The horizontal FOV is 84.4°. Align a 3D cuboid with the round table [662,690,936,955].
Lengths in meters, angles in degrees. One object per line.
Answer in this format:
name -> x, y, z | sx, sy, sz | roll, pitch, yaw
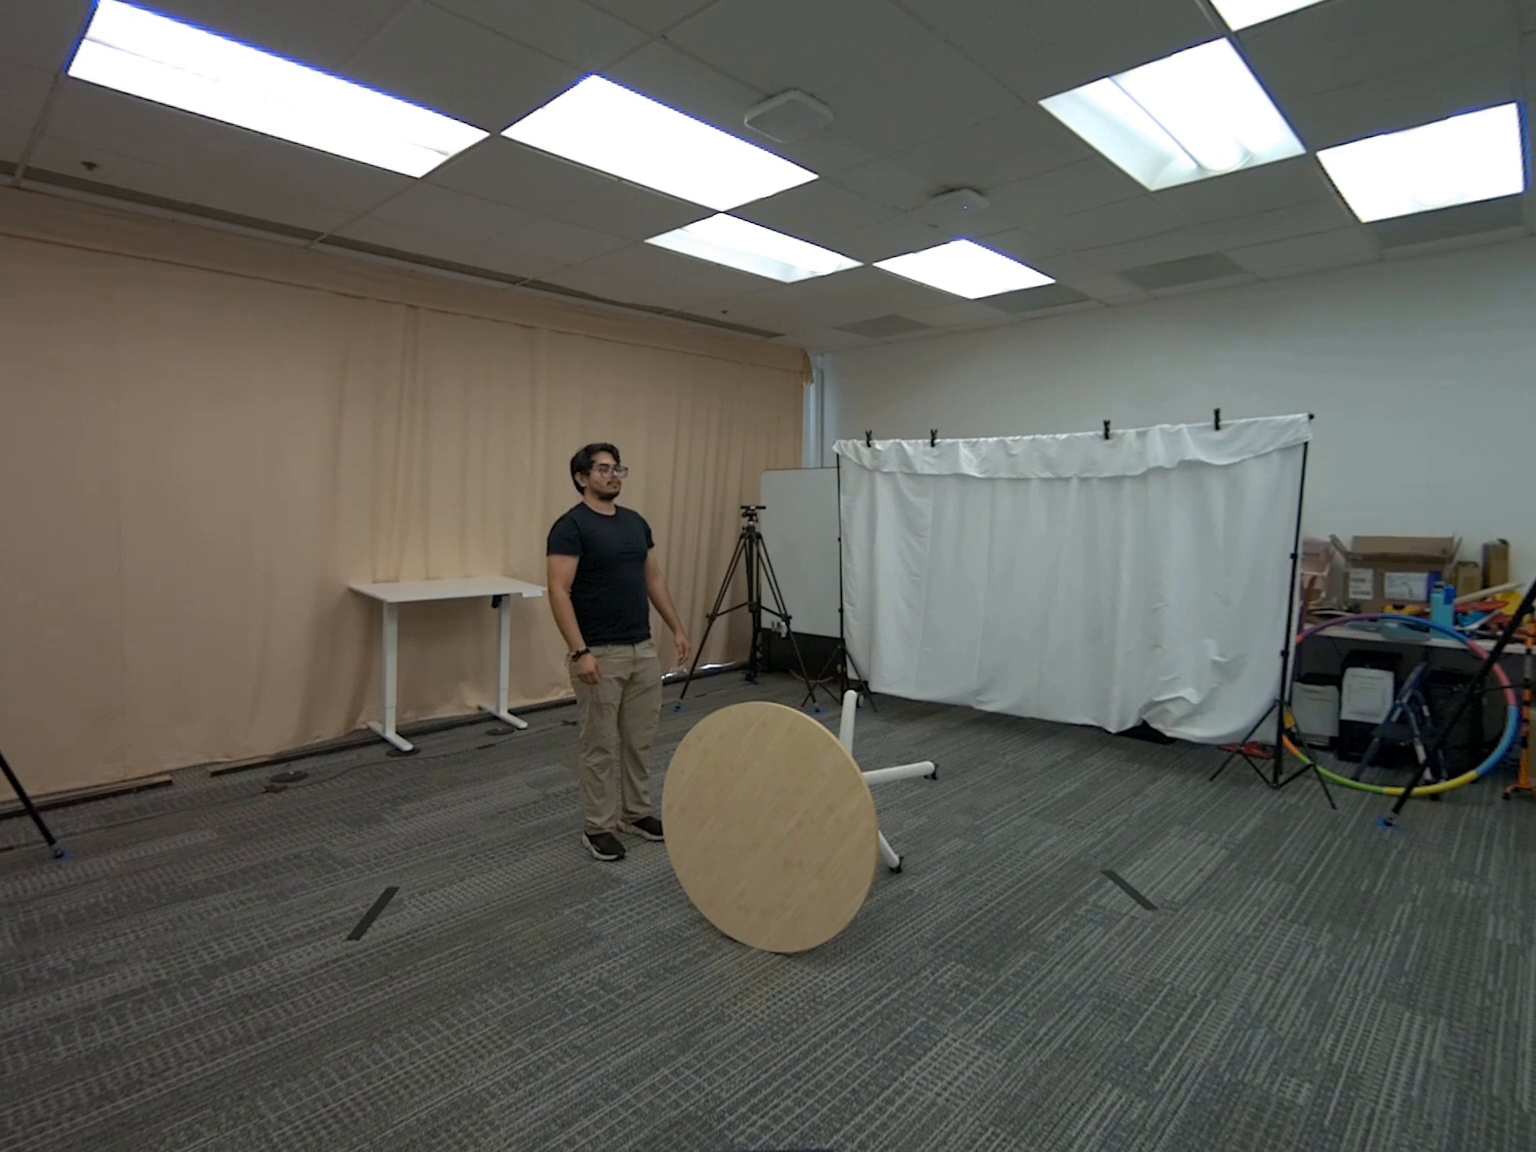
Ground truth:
round table -> 0.168, 0.784, 2.995 | 0.808, 0.785, 0.764 | 2, 0, 29
